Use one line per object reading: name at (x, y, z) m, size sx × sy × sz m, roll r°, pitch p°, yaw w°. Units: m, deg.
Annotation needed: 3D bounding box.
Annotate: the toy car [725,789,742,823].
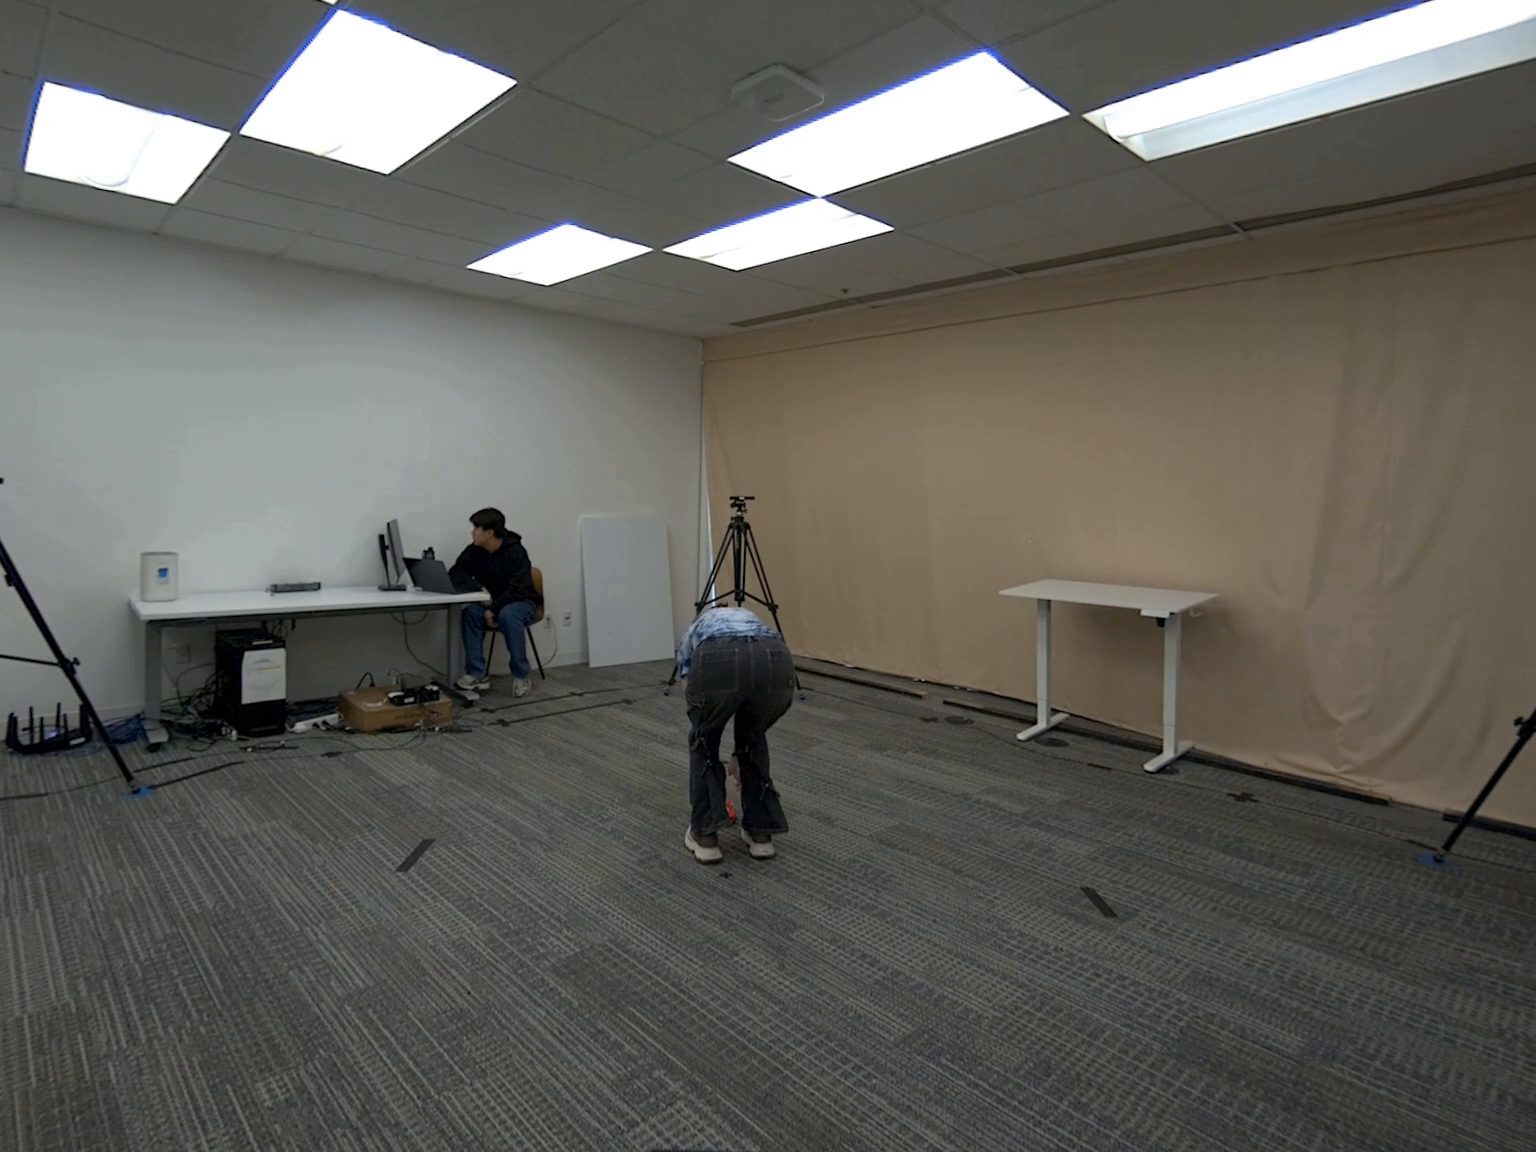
toy car at (-0.206, 1.026, 3.659) m, size 0.129 × 0.083 × 0.255 m, roll 3°, pitch -5°, yaw -8°
